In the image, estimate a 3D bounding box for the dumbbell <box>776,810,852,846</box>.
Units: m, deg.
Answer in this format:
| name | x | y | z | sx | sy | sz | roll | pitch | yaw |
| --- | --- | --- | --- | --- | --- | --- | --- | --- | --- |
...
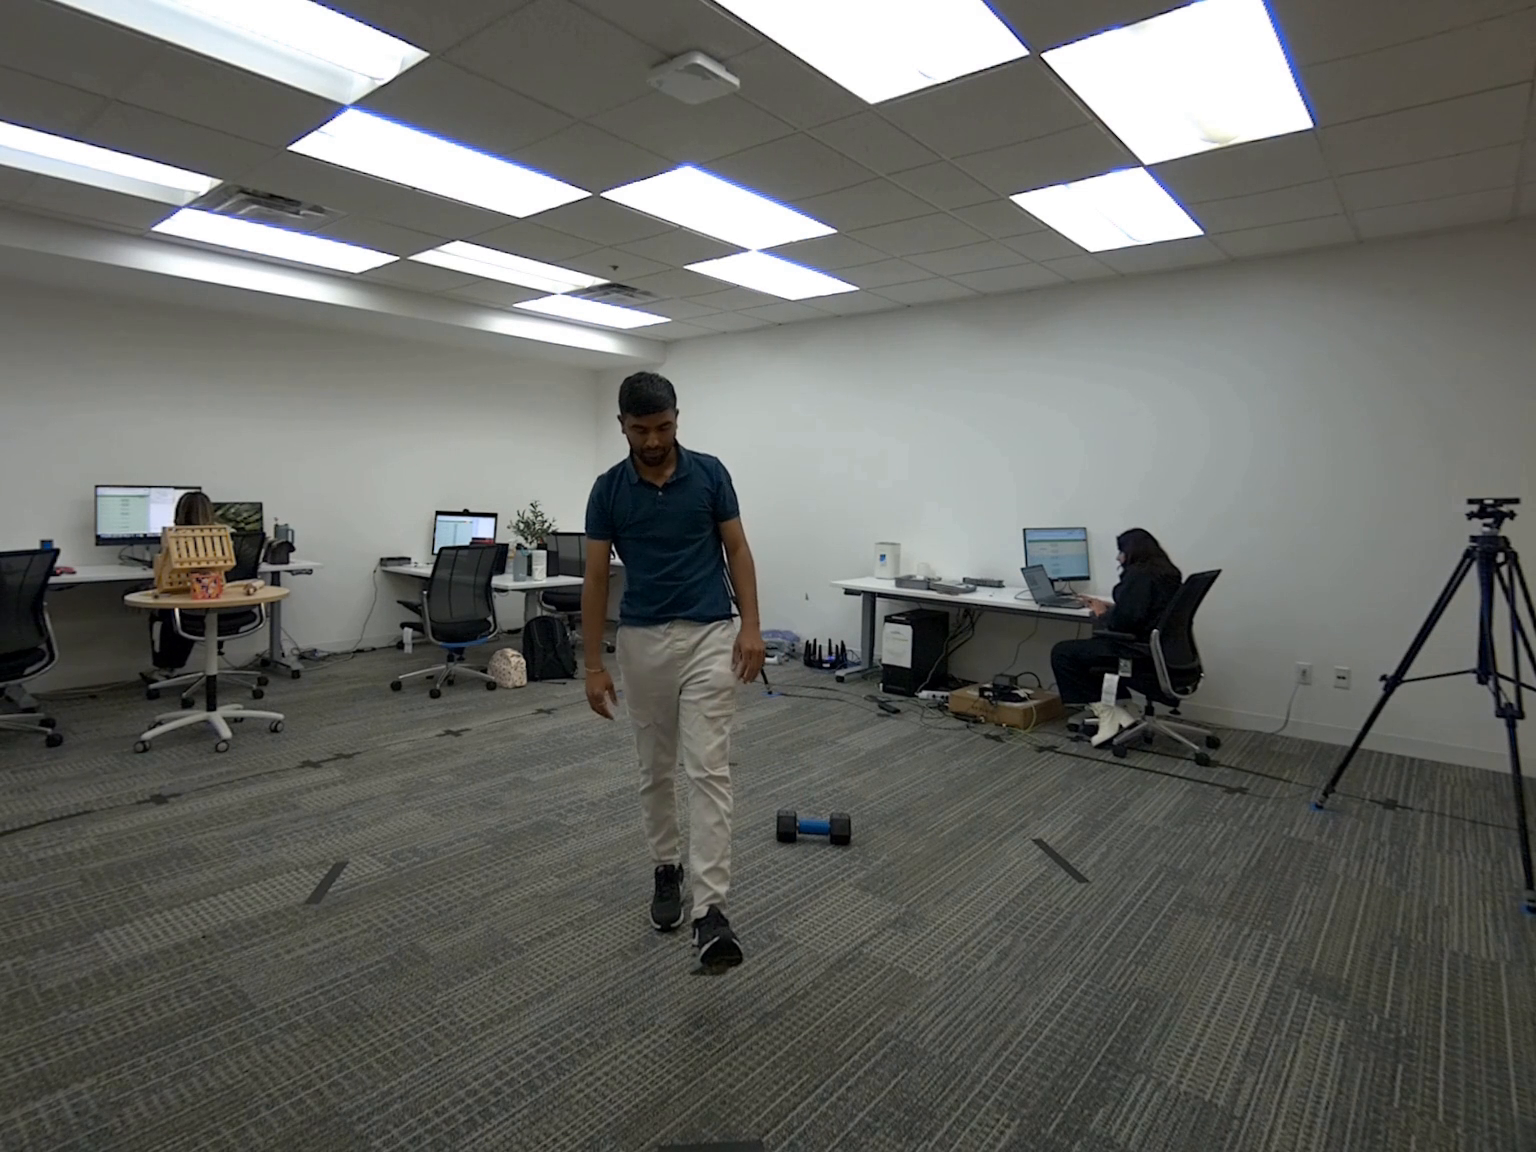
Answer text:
| name | x | y | z | sx | sy | sz | roll | pitch | yaw |
| --- | --- | --- | --- | --- | --- | --- | --- | --- | --- |
| dumbbell | 0.173 | 0.993 | 3.384 | 0.295 | 0.108 | 0.123 | 1 | 4 | 4 |
